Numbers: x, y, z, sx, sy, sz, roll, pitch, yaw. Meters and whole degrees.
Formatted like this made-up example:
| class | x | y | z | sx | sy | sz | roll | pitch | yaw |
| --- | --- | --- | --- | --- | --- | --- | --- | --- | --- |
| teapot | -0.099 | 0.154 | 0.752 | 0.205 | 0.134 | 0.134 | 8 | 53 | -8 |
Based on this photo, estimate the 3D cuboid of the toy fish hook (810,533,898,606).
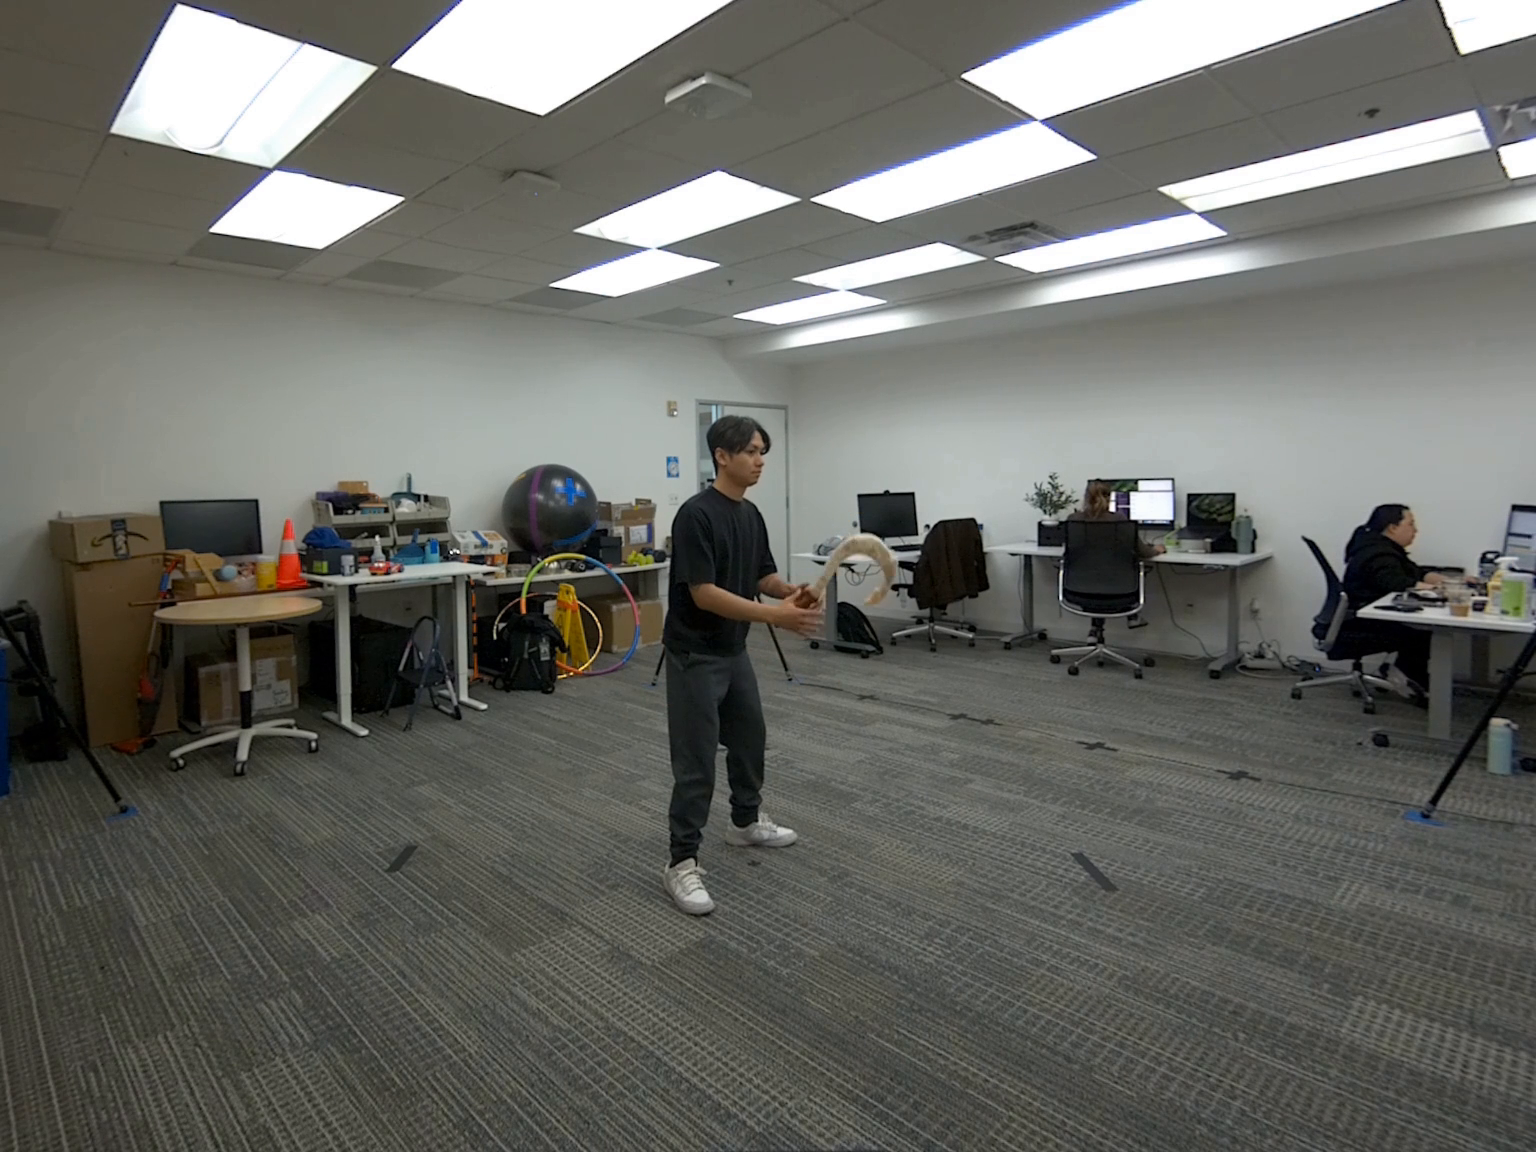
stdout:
| class | x | y | z | sx | sy | sz | roll | pitch | yaw |
| --- | --- | --- | --- | --- | --- | --- | --- | --- | --- |
| toy fish hook | 0.209 | 0.094 | 2.869 | 0.507 | 0.228 | 0.047 | -44 | -12 | 27 |
